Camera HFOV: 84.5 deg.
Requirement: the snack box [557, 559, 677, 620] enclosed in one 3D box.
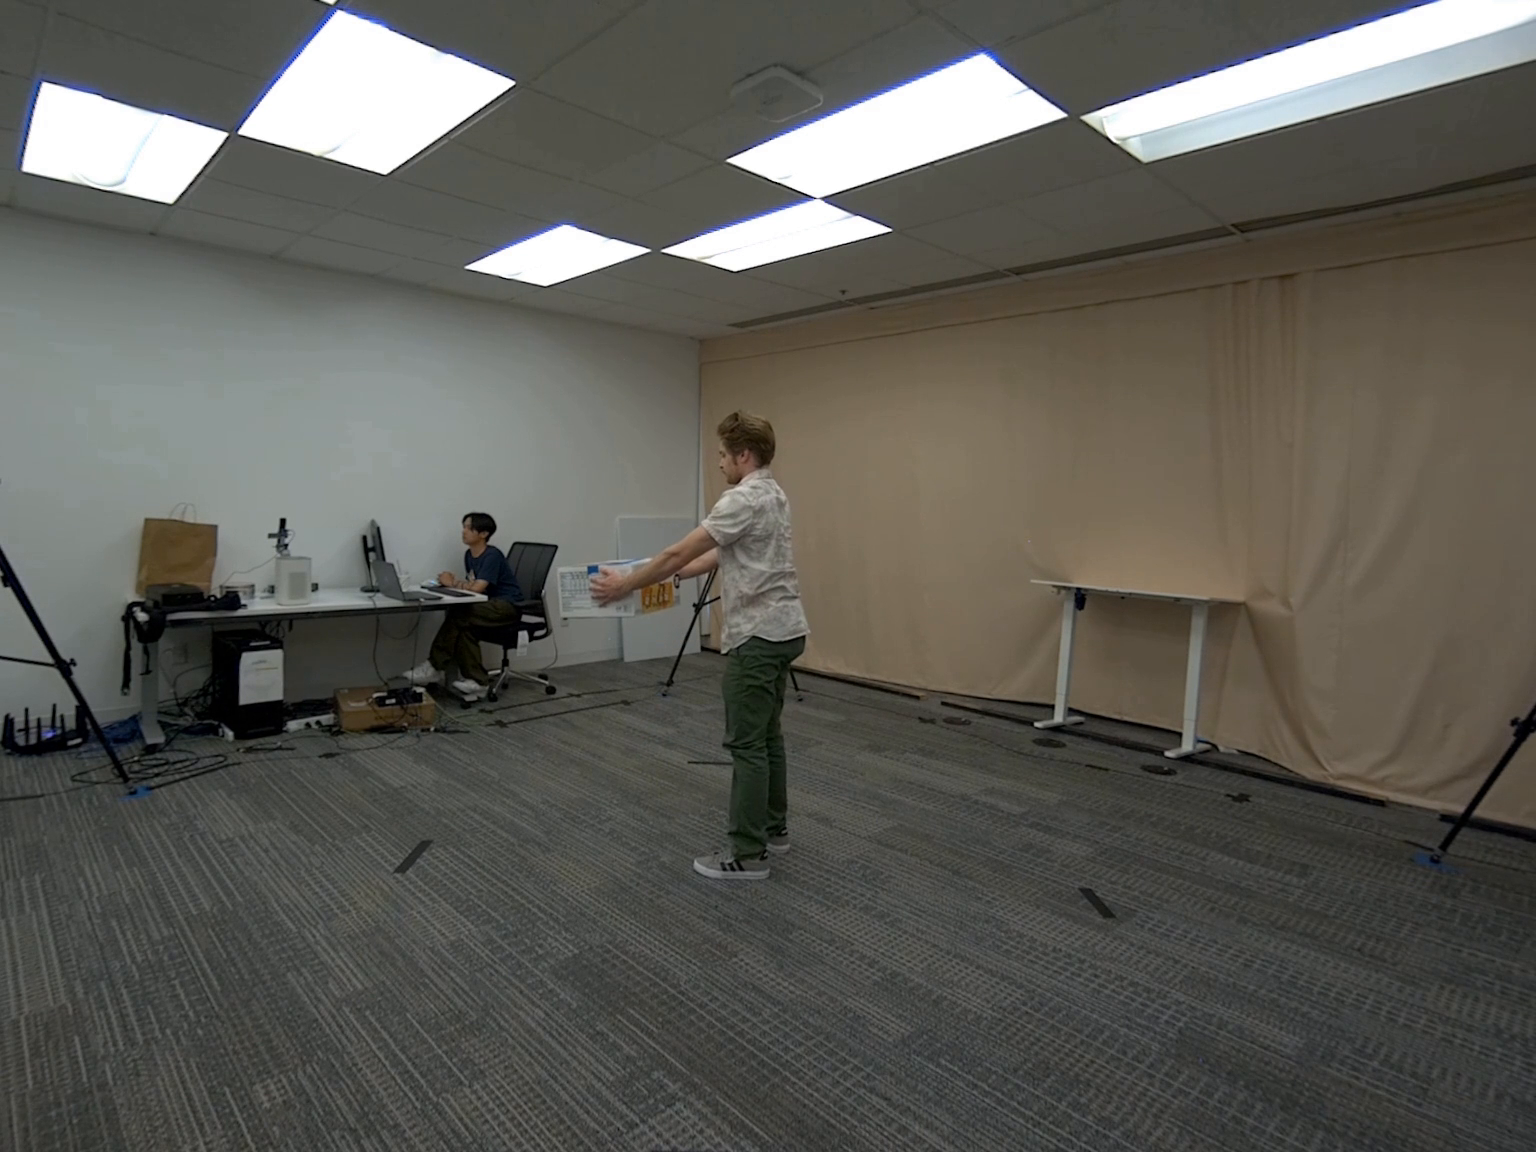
[{"bbox_3d":[-0.606,0.046,3.455,0.345,0.205,0.400,-2,4,21],"label":"snack box"}]
